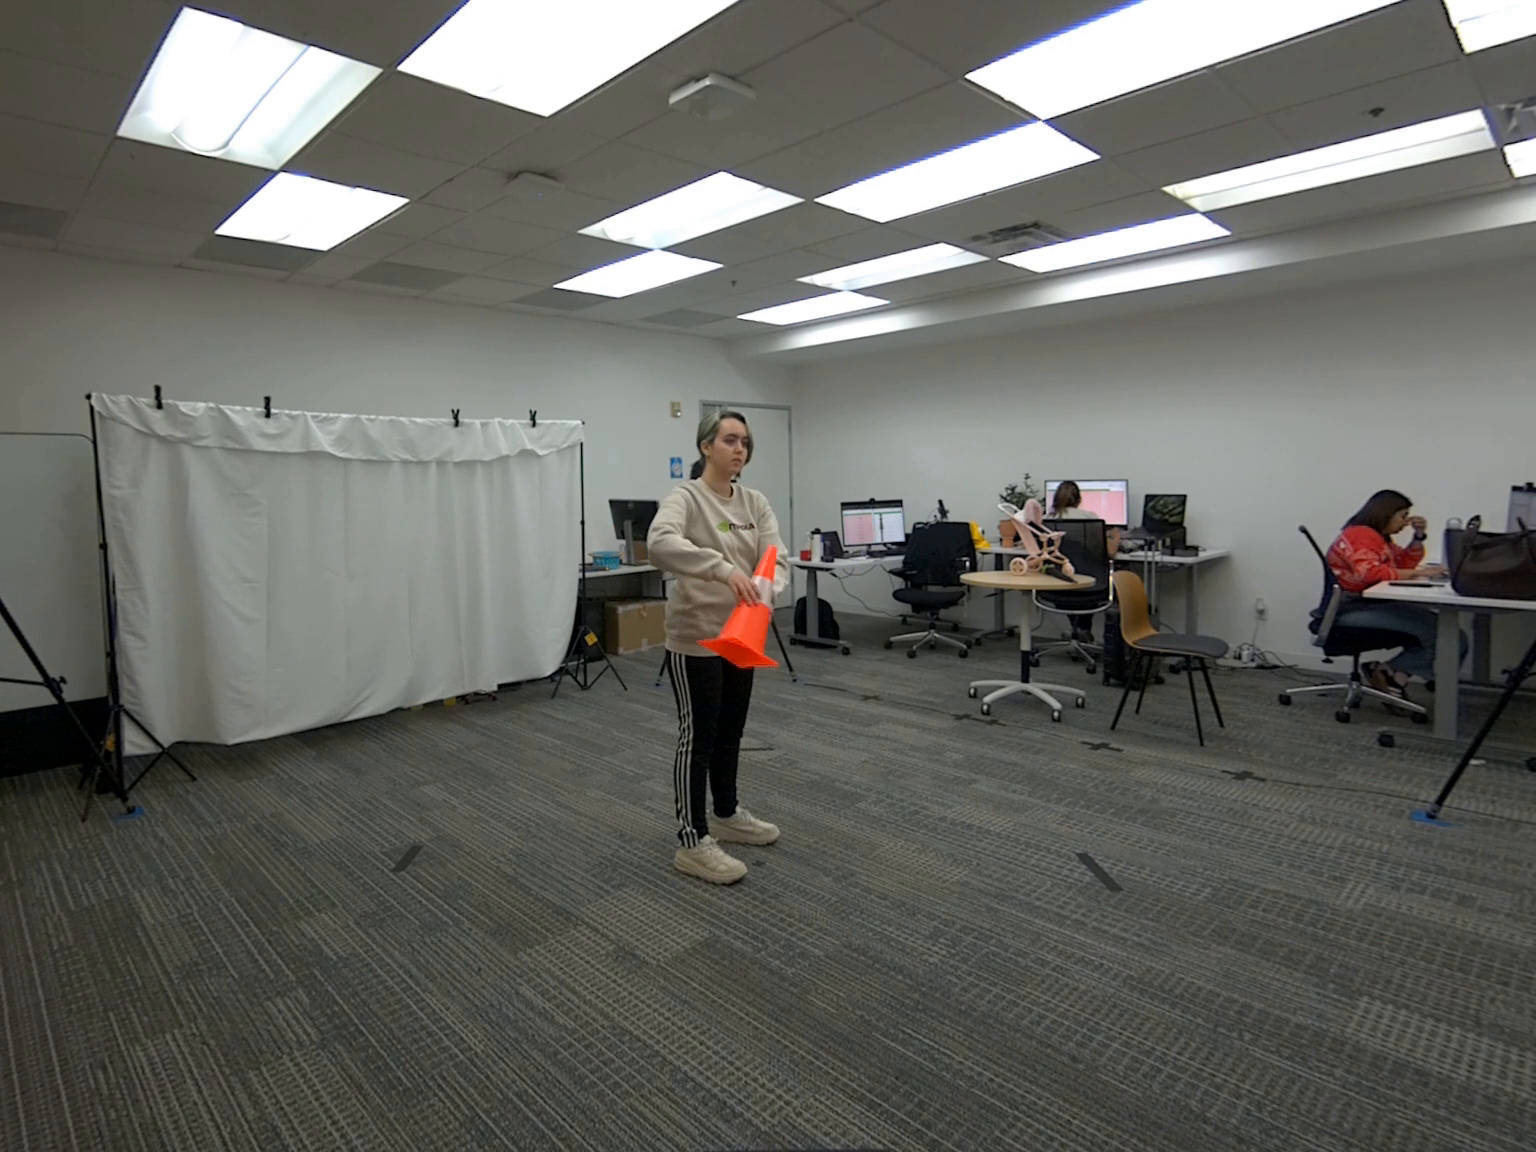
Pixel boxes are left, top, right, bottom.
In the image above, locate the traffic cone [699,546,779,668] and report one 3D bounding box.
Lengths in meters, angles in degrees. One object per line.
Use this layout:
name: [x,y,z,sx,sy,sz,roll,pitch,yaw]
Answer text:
traffic cone: [-0.045,0.069,2.748,0.199,0.389,0.207,28,-27,-27]
